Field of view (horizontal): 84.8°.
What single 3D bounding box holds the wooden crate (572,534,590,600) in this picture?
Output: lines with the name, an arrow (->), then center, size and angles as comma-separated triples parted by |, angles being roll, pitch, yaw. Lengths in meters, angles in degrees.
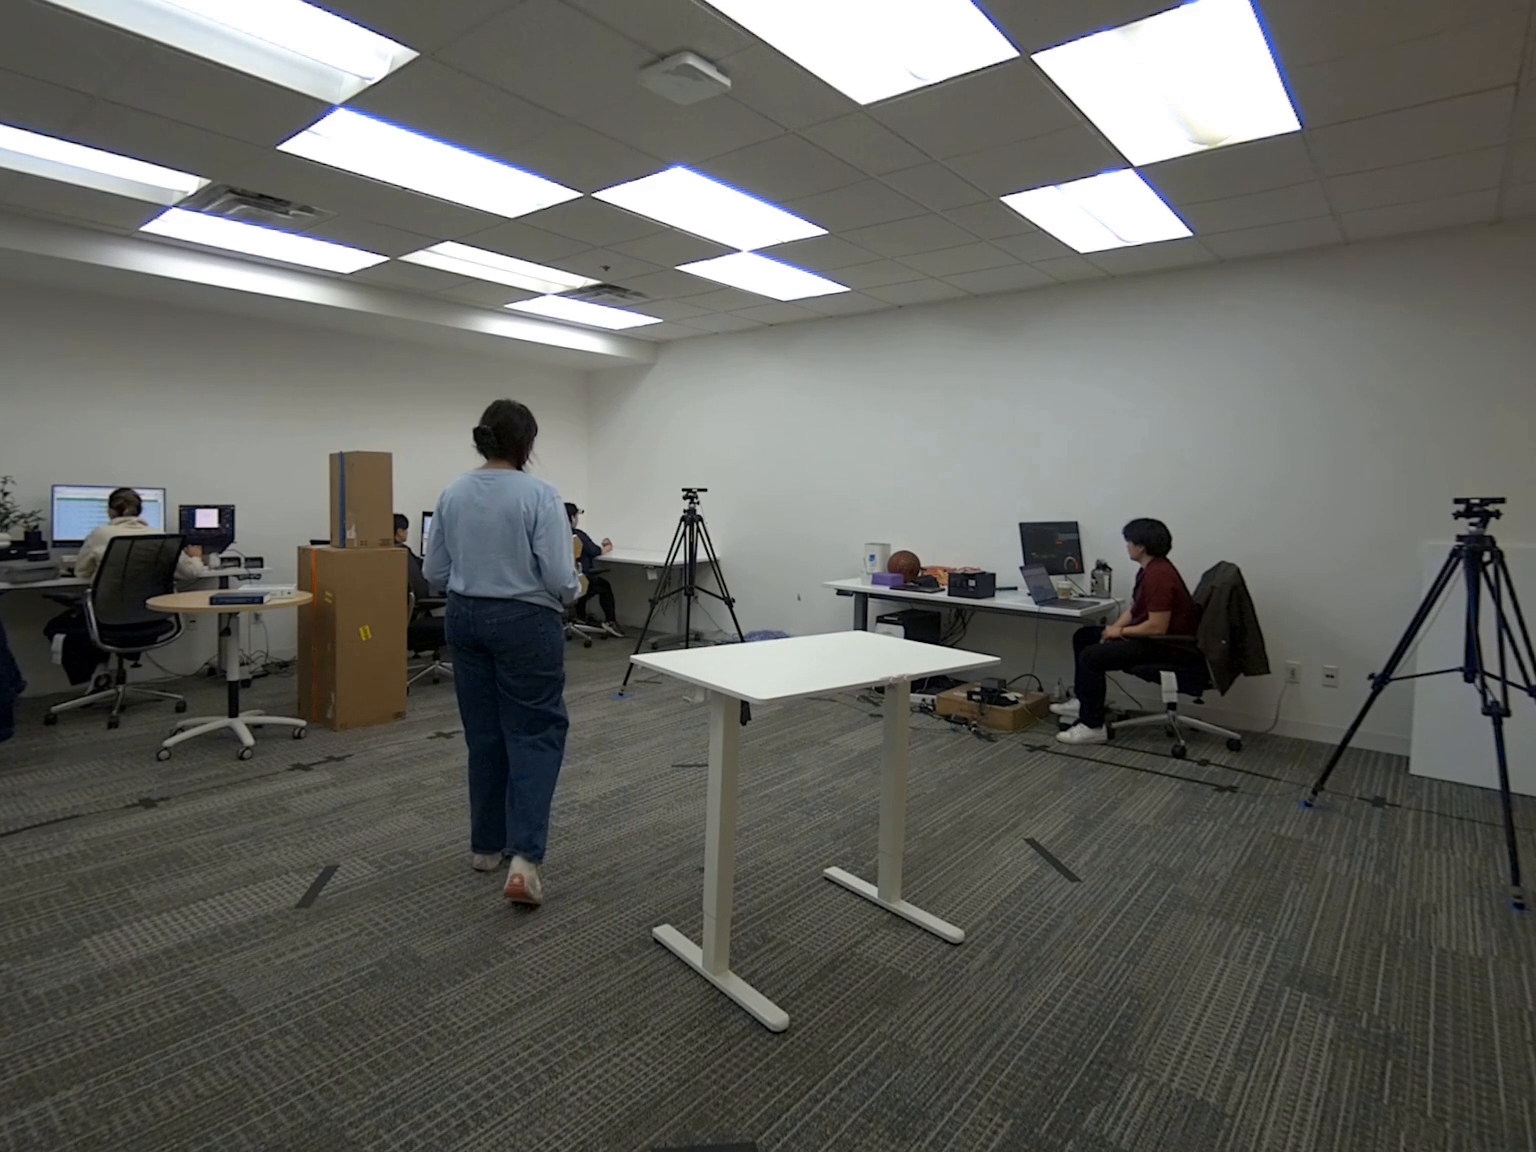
wooden crate -> -0.913, -0.052, 3.300 | 0.329, 0.271, 0.301 | 7, 11, 10
